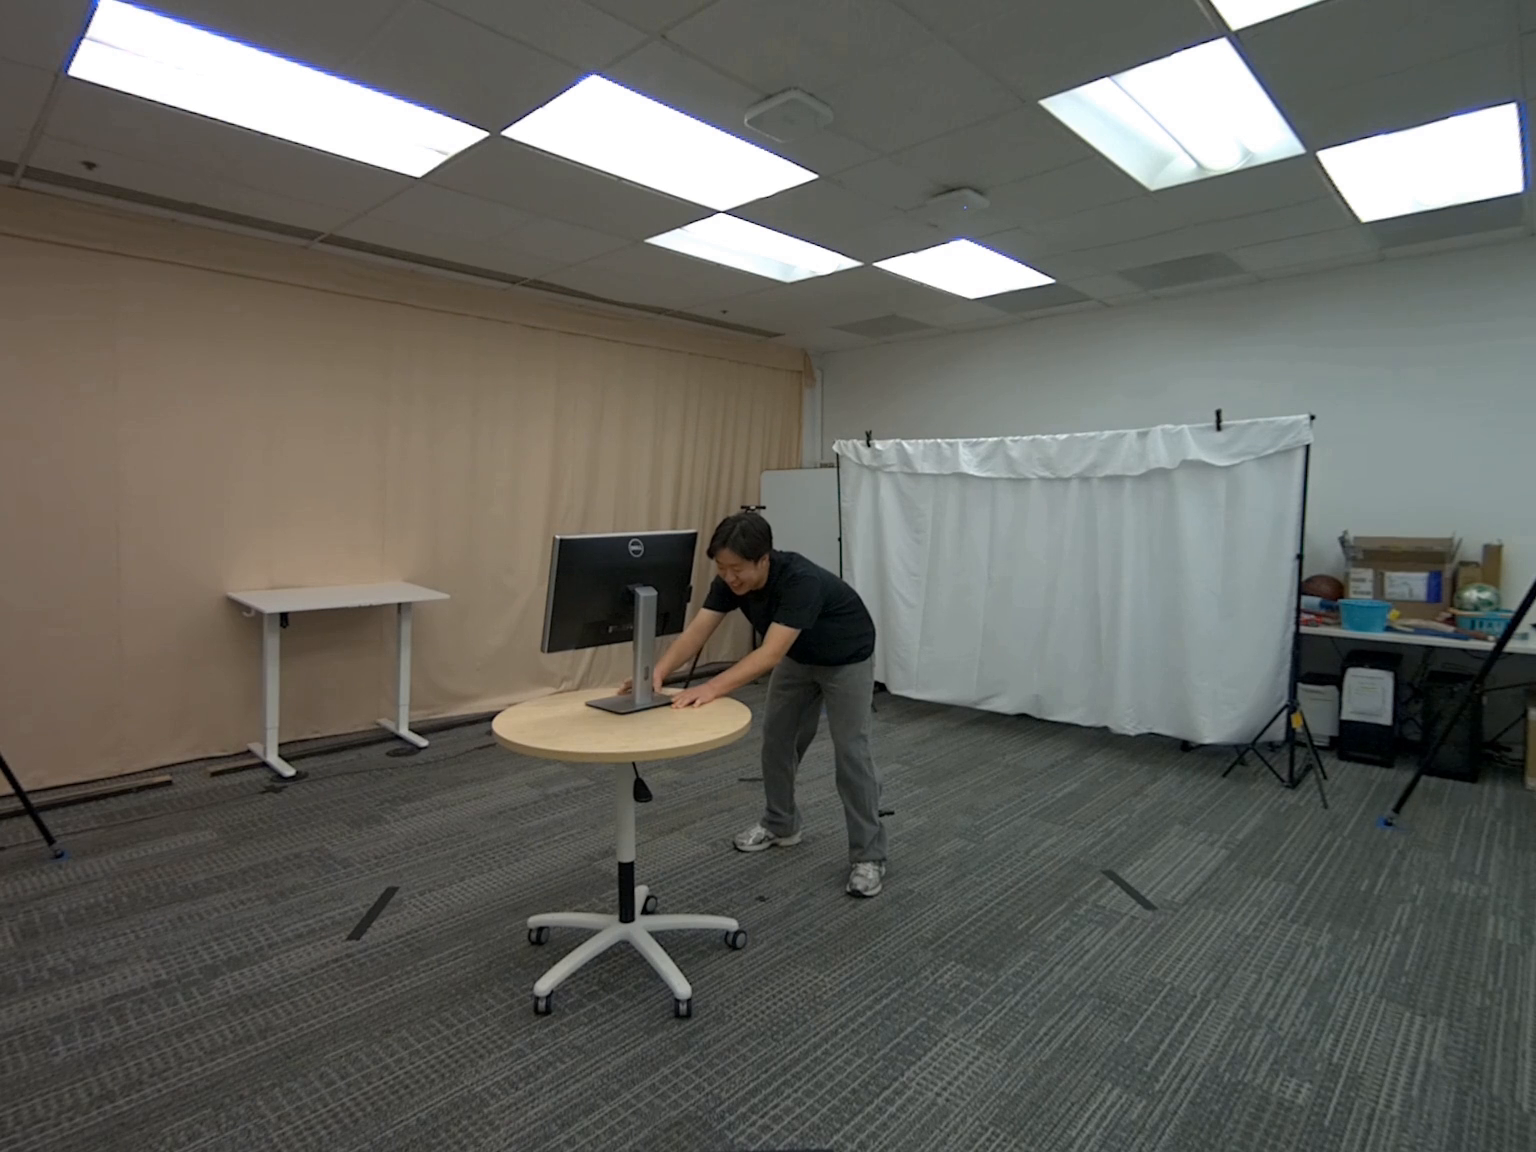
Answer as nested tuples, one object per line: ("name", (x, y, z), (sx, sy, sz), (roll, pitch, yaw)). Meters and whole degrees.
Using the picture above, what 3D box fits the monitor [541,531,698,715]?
("monitor", (-0.412, 0.140, 2.627), (0.217, 0.551, 0.548), (12, 11, 42))
